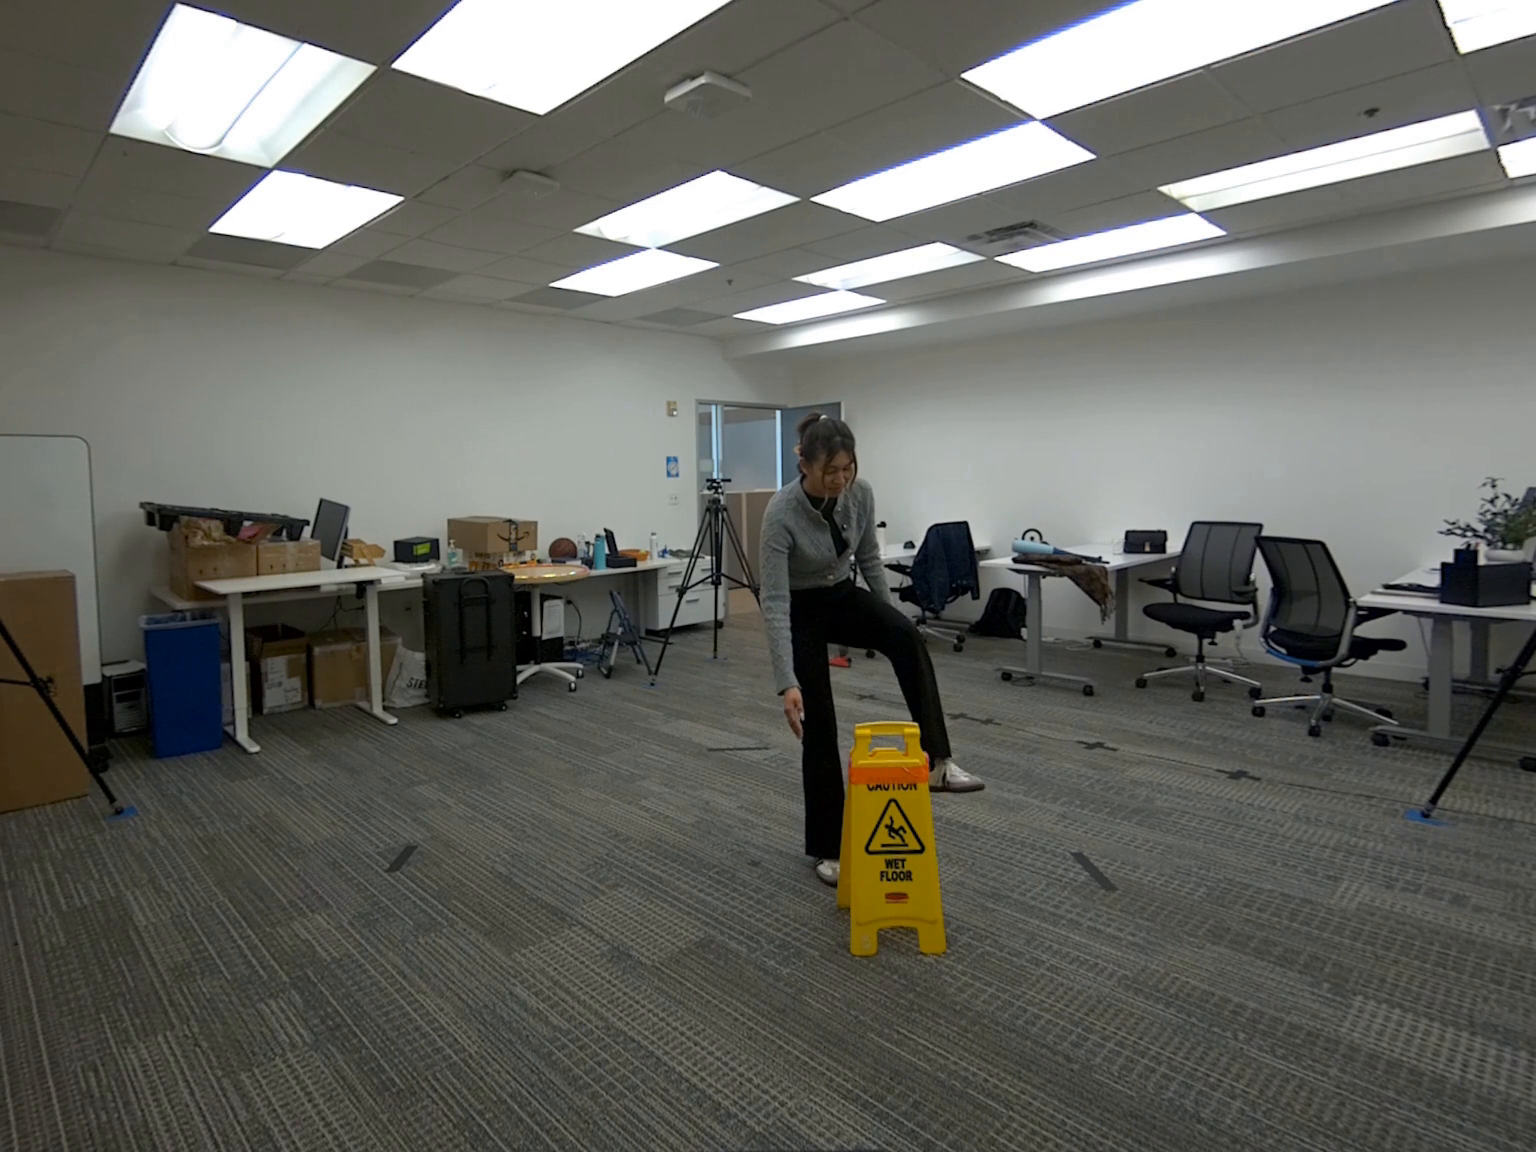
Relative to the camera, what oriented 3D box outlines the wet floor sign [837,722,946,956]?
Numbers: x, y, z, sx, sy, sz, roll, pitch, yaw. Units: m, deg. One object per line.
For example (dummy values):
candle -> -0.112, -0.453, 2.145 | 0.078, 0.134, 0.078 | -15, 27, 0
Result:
wet floor sign -> 0.363, 0.772, 2.613 | 0.282, 0.643, 0.292 | -4, 5, -3
